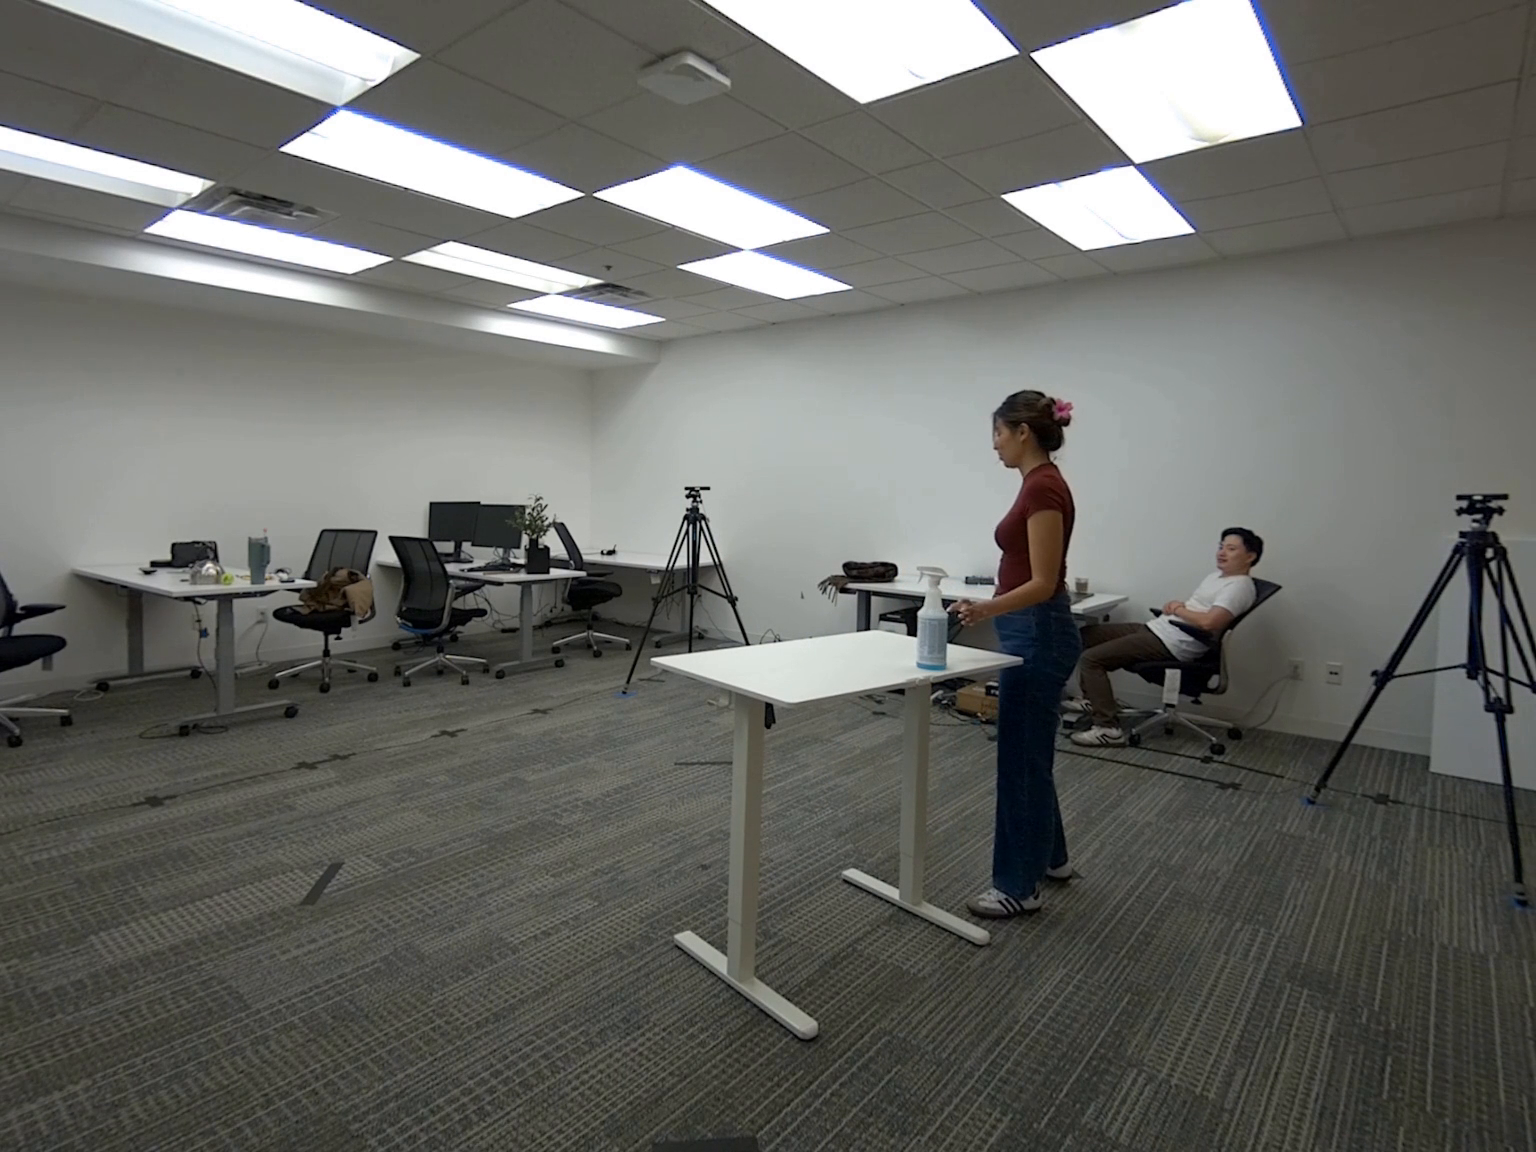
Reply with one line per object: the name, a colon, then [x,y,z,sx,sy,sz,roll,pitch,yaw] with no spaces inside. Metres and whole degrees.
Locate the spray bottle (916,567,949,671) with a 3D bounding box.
spray bottle: [0.476,0.119,2.466,0.092,0.297,0.085,1,2,29]
